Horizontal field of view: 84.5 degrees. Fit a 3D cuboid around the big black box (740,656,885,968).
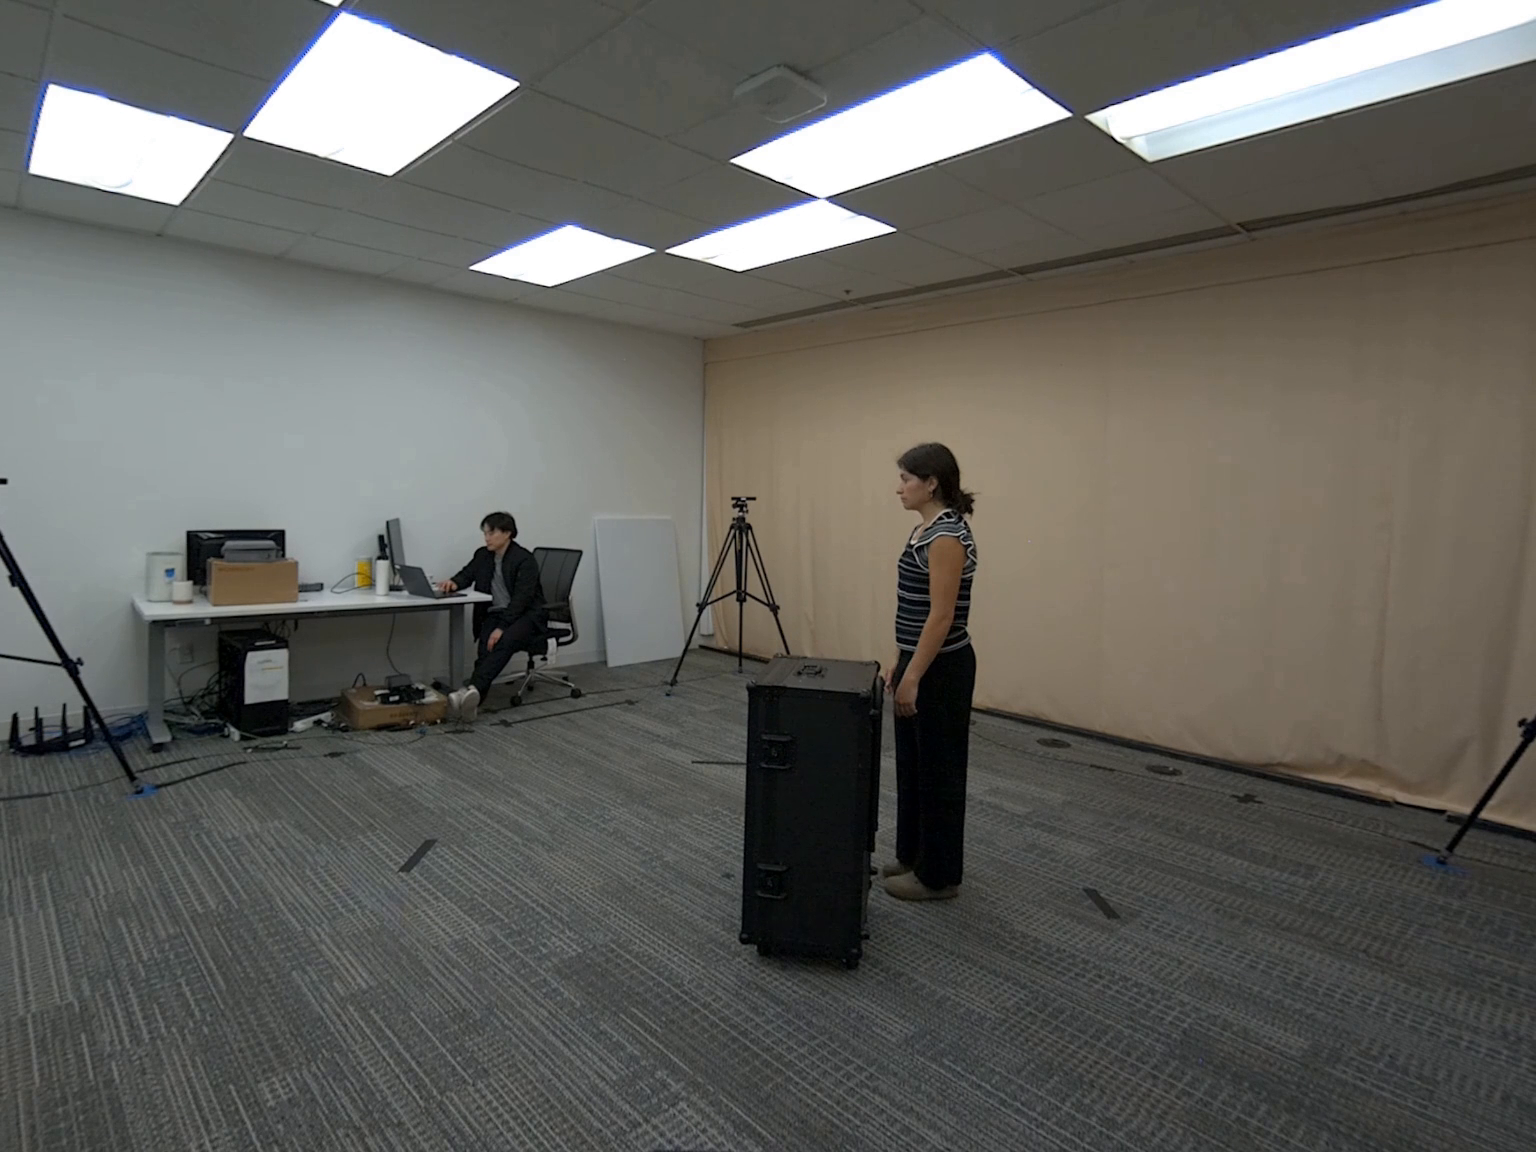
[{"bbox_3d":[0.150,0.728,2.667,0.401,0.859,0.517,2,4,13],"label":"big black box"}]
